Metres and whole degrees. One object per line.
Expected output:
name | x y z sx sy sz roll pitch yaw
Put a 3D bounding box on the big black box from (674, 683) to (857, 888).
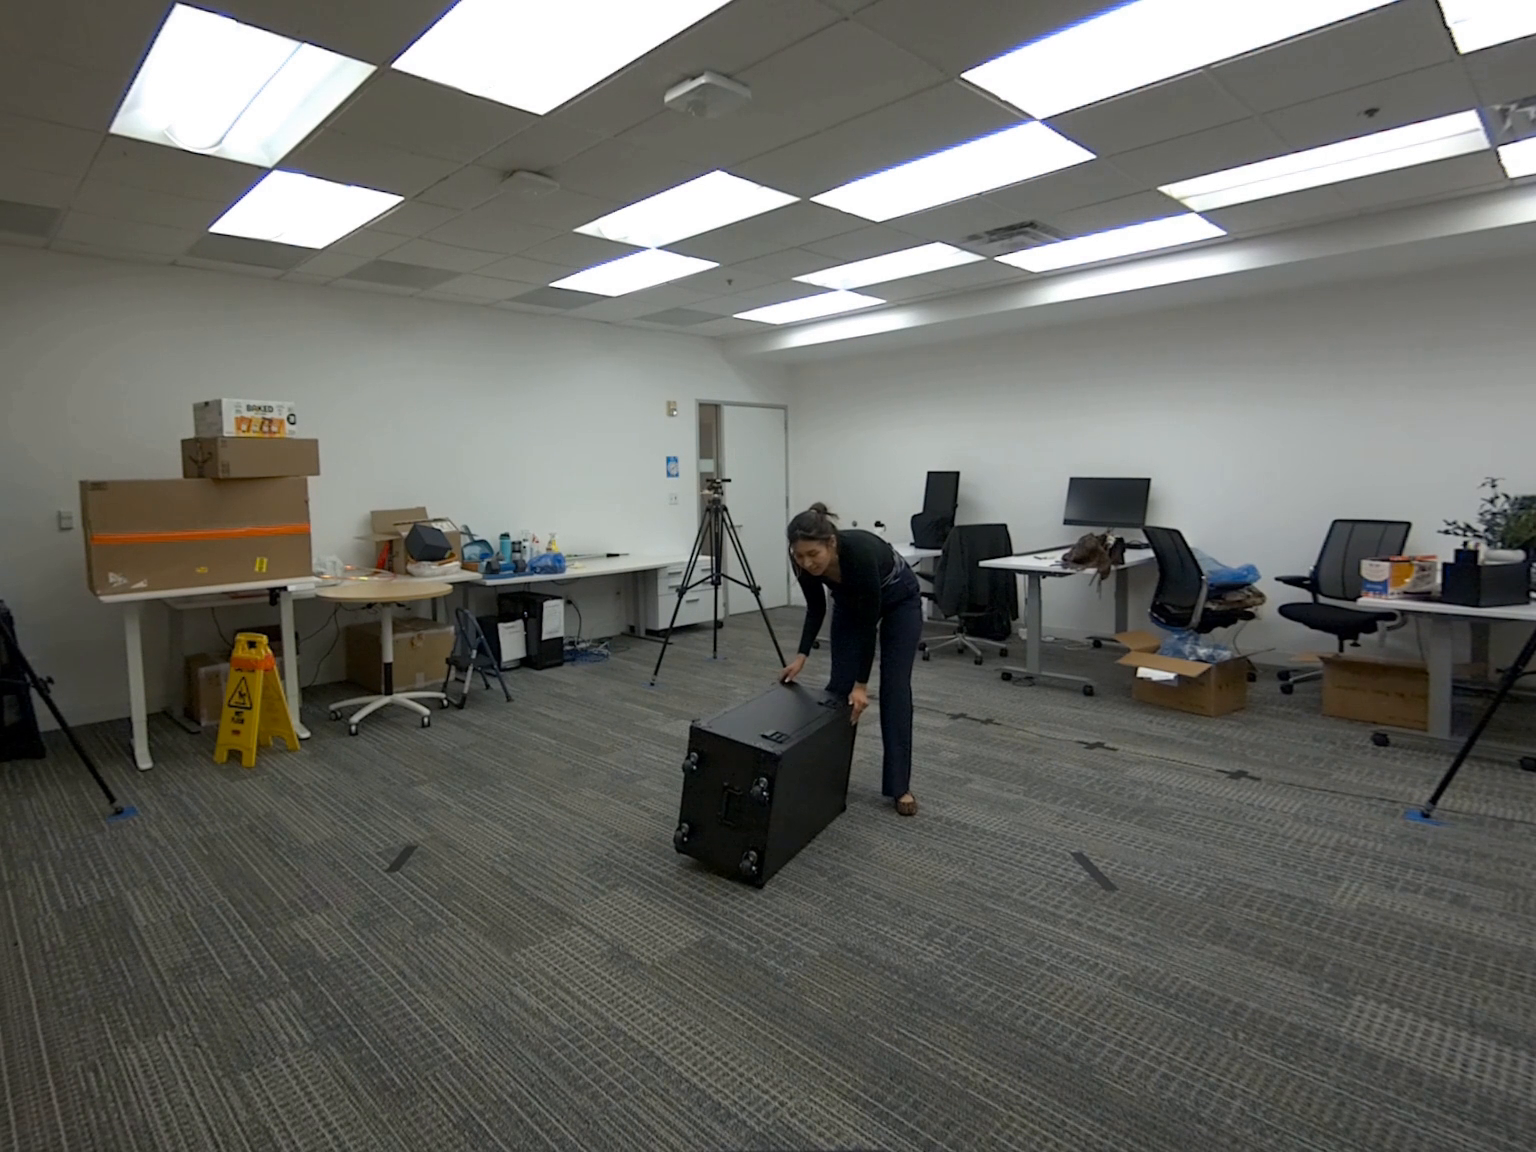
big black box | -0.004 0.751 3.268 0.407 0.518 0.844 11 10 25
